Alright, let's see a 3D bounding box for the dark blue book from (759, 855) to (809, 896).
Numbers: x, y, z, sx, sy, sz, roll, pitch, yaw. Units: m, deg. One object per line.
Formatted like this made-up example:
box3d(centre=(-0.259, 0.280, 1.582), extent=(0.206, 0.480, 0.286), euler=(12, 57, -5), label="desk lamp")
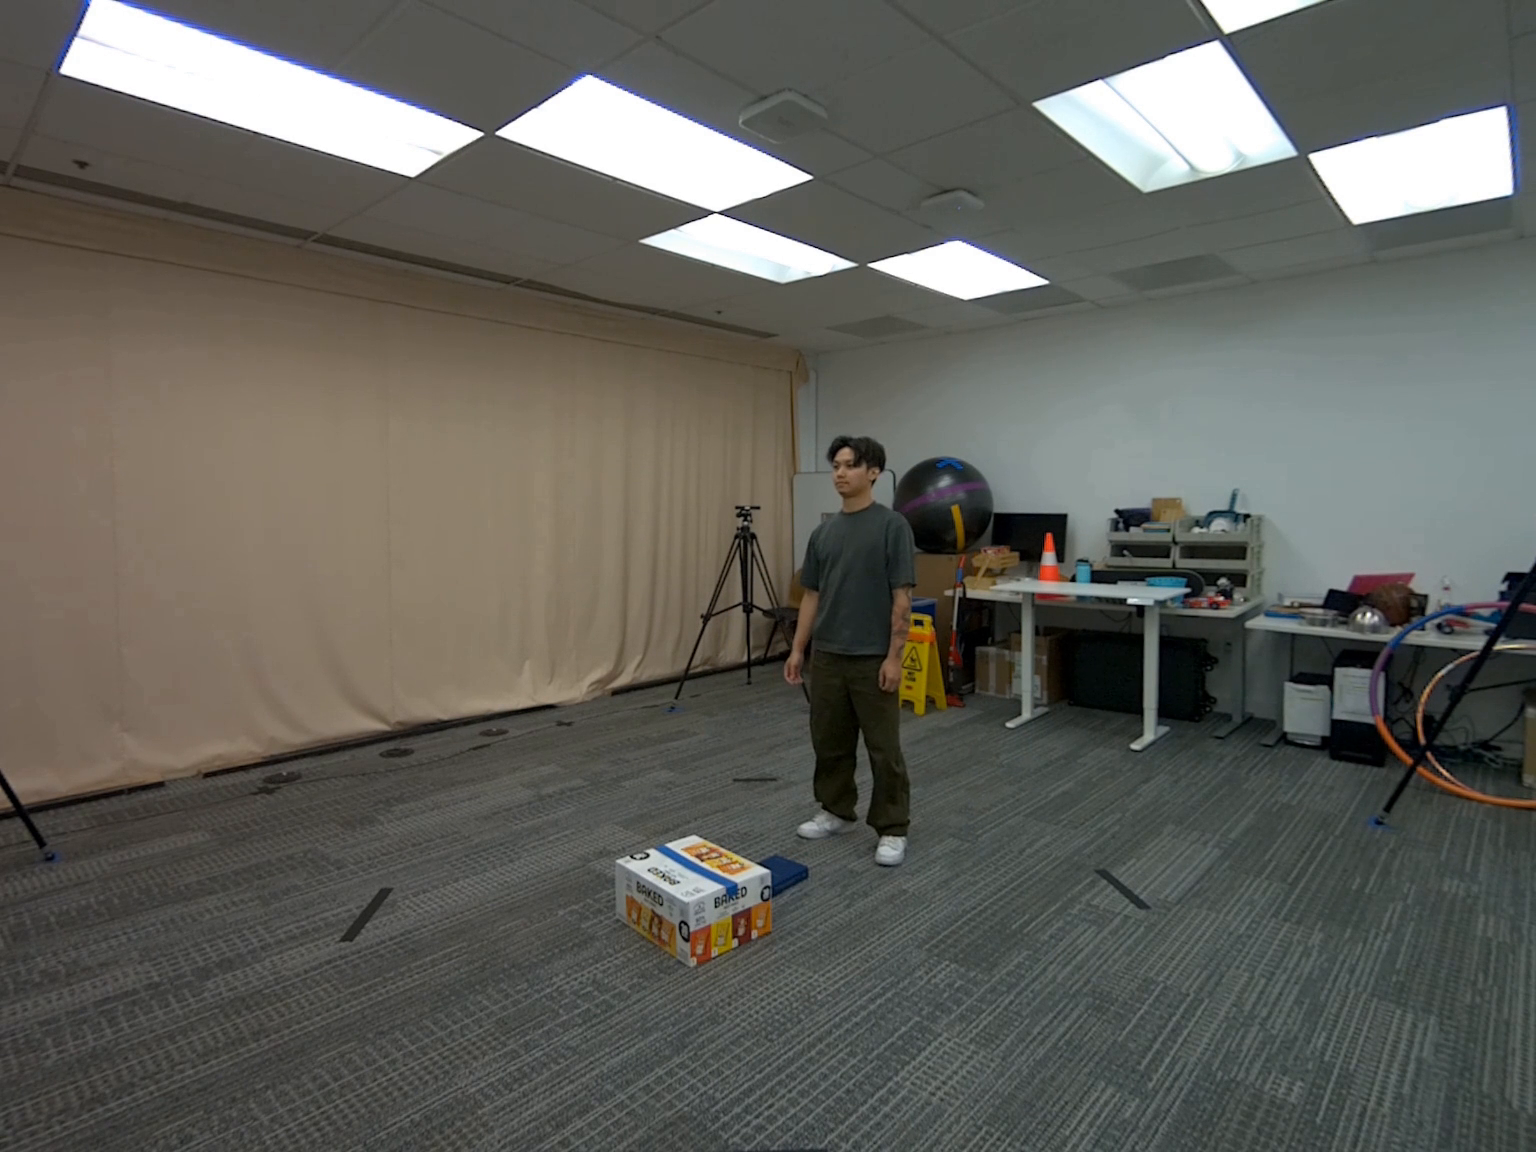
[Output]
box3d(centre=(0.016, 1.107, 3.109), extent=(0.169, 0.045, 0.238), euler=(4, 7, 41), label="dark blue book")
